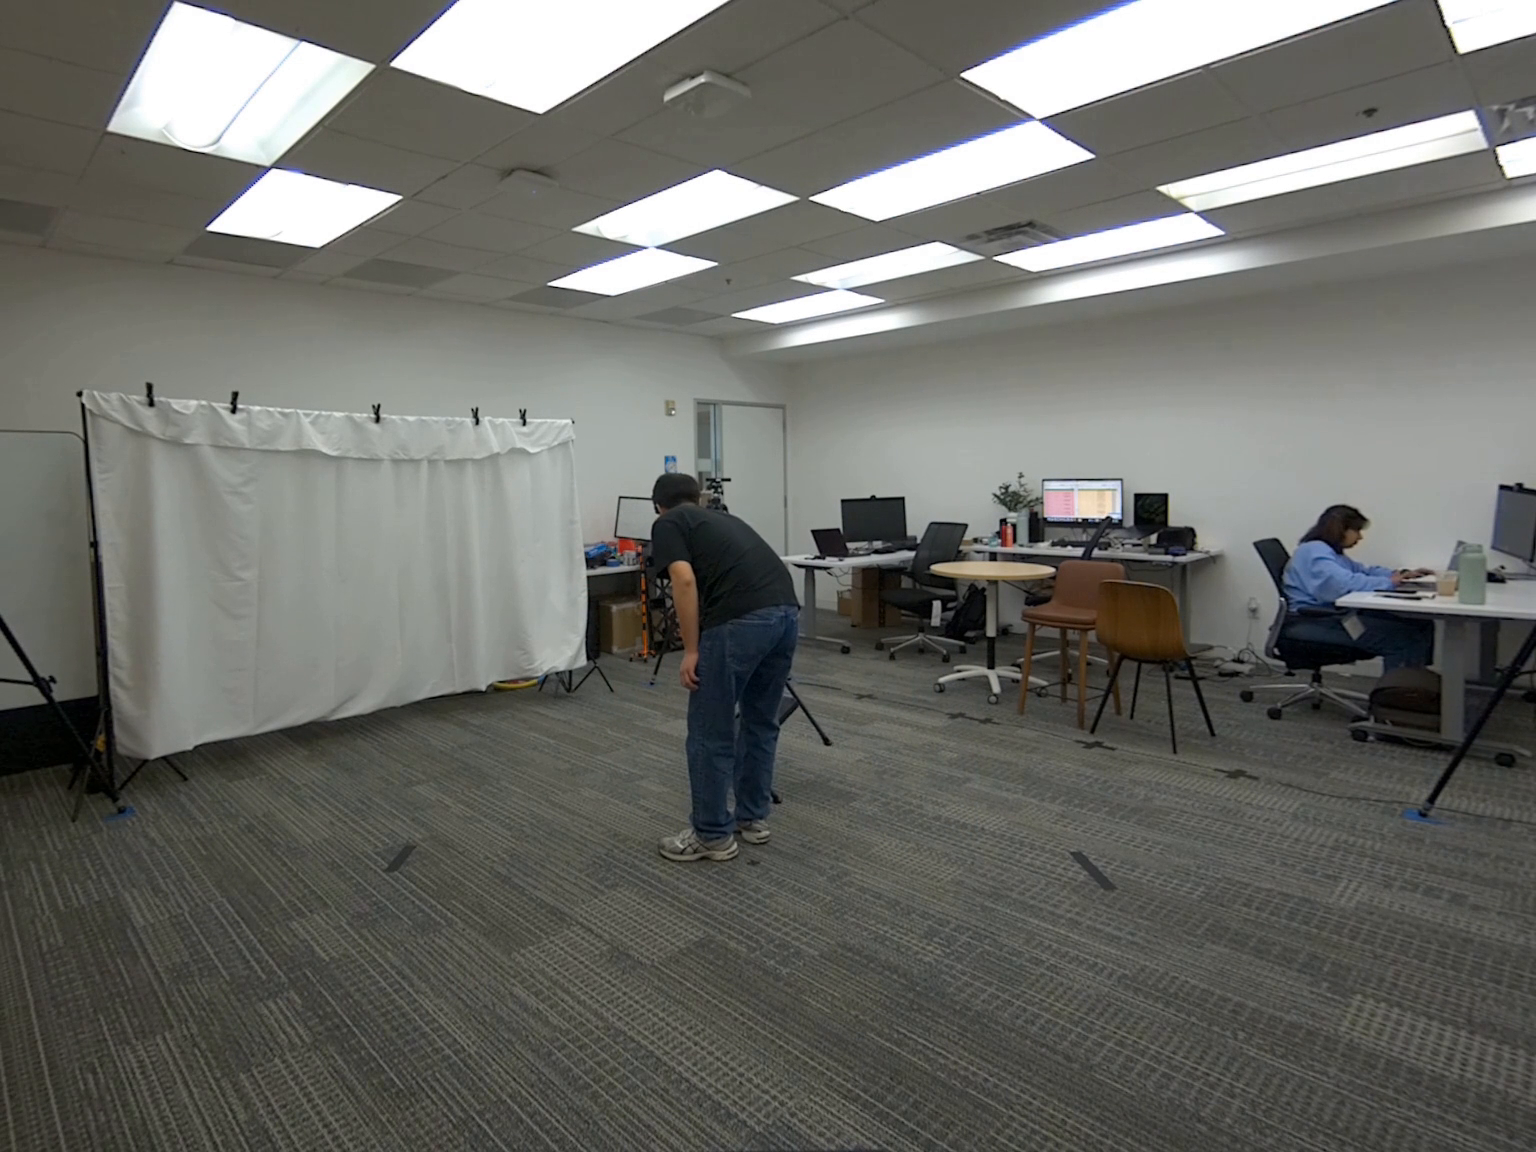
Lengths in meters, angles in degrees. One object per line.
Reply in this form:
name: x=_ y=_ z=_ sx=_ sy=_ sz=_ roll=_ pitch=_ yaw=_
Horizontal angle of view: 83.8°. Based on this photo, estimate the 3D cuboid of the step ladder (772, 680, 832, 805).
step ladder: x=-0.047 y=0.603 z=3.820 sx=0.359 sy=0.592 sz=0.428 roll=0 pitch=29 yaw=44
